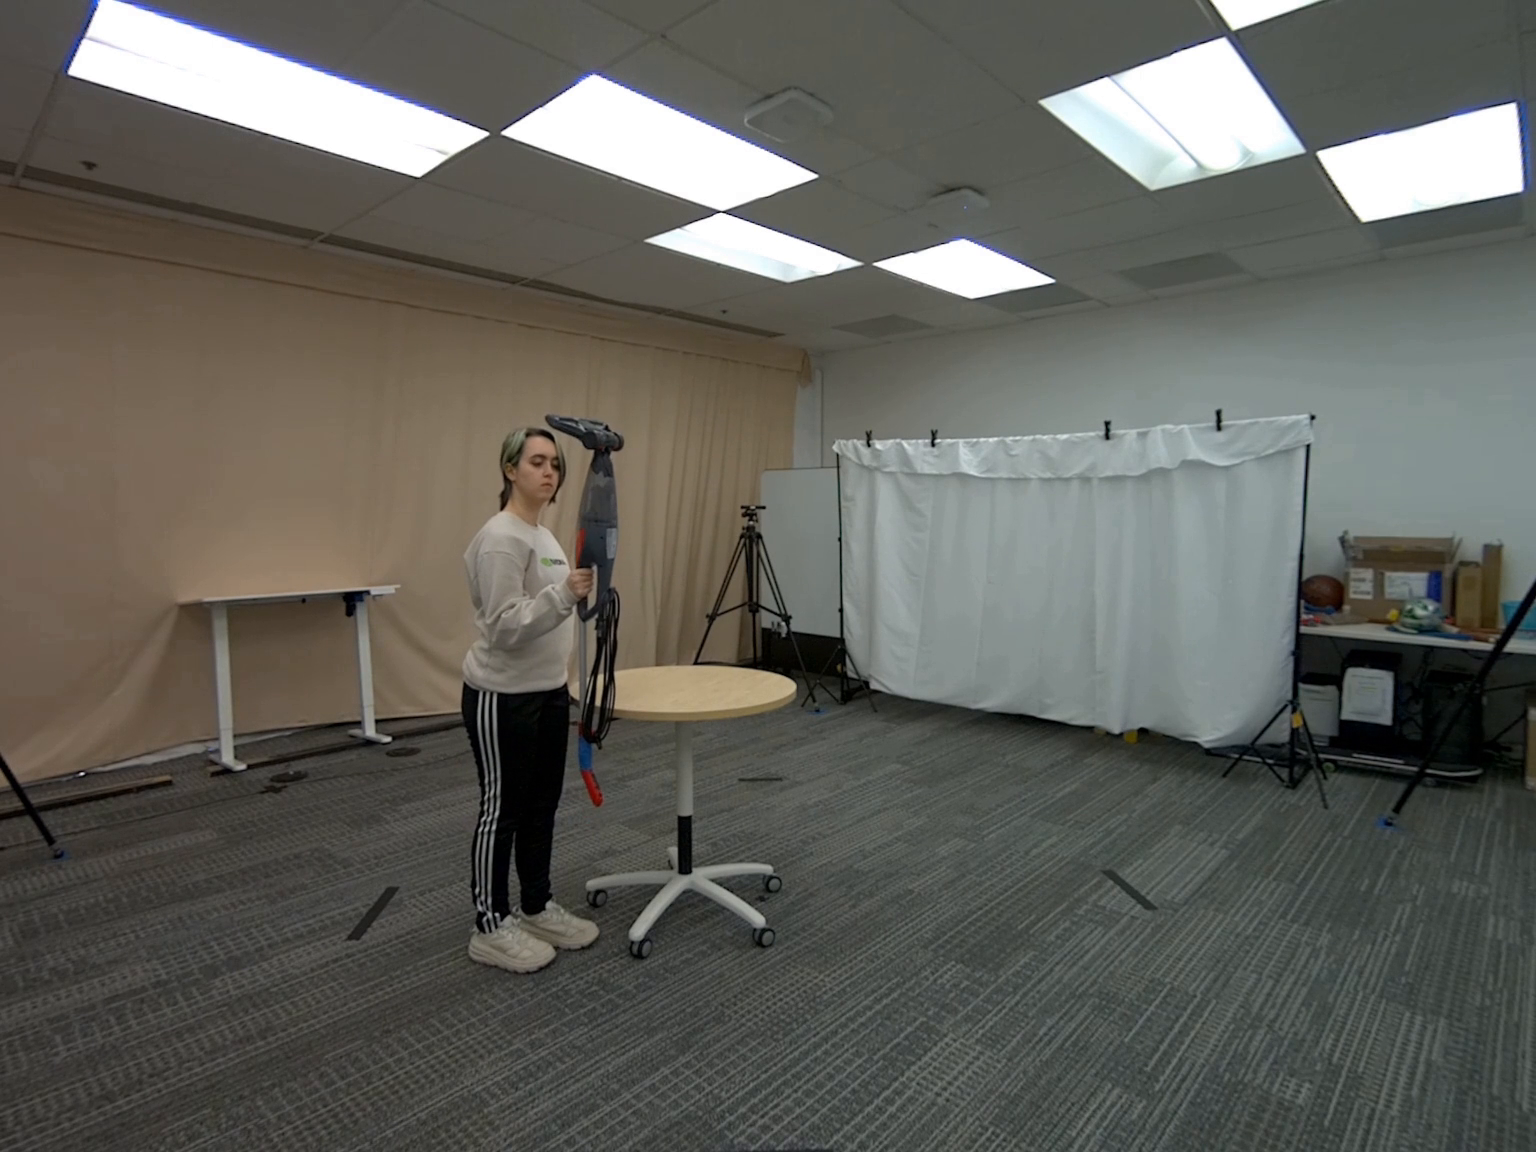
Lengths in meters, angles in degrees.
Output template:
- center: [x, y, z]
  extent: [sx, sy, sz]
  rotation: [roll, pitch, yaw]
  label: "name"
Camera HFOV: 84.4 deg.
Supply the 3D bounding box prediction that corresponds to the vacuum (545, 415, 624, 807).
- center: [-0.476, 0.110, 2.328]
  extent: [0.148, 1.047, 0.246]
  rotation: [0, 3, 28]
  label: "vacuum"
